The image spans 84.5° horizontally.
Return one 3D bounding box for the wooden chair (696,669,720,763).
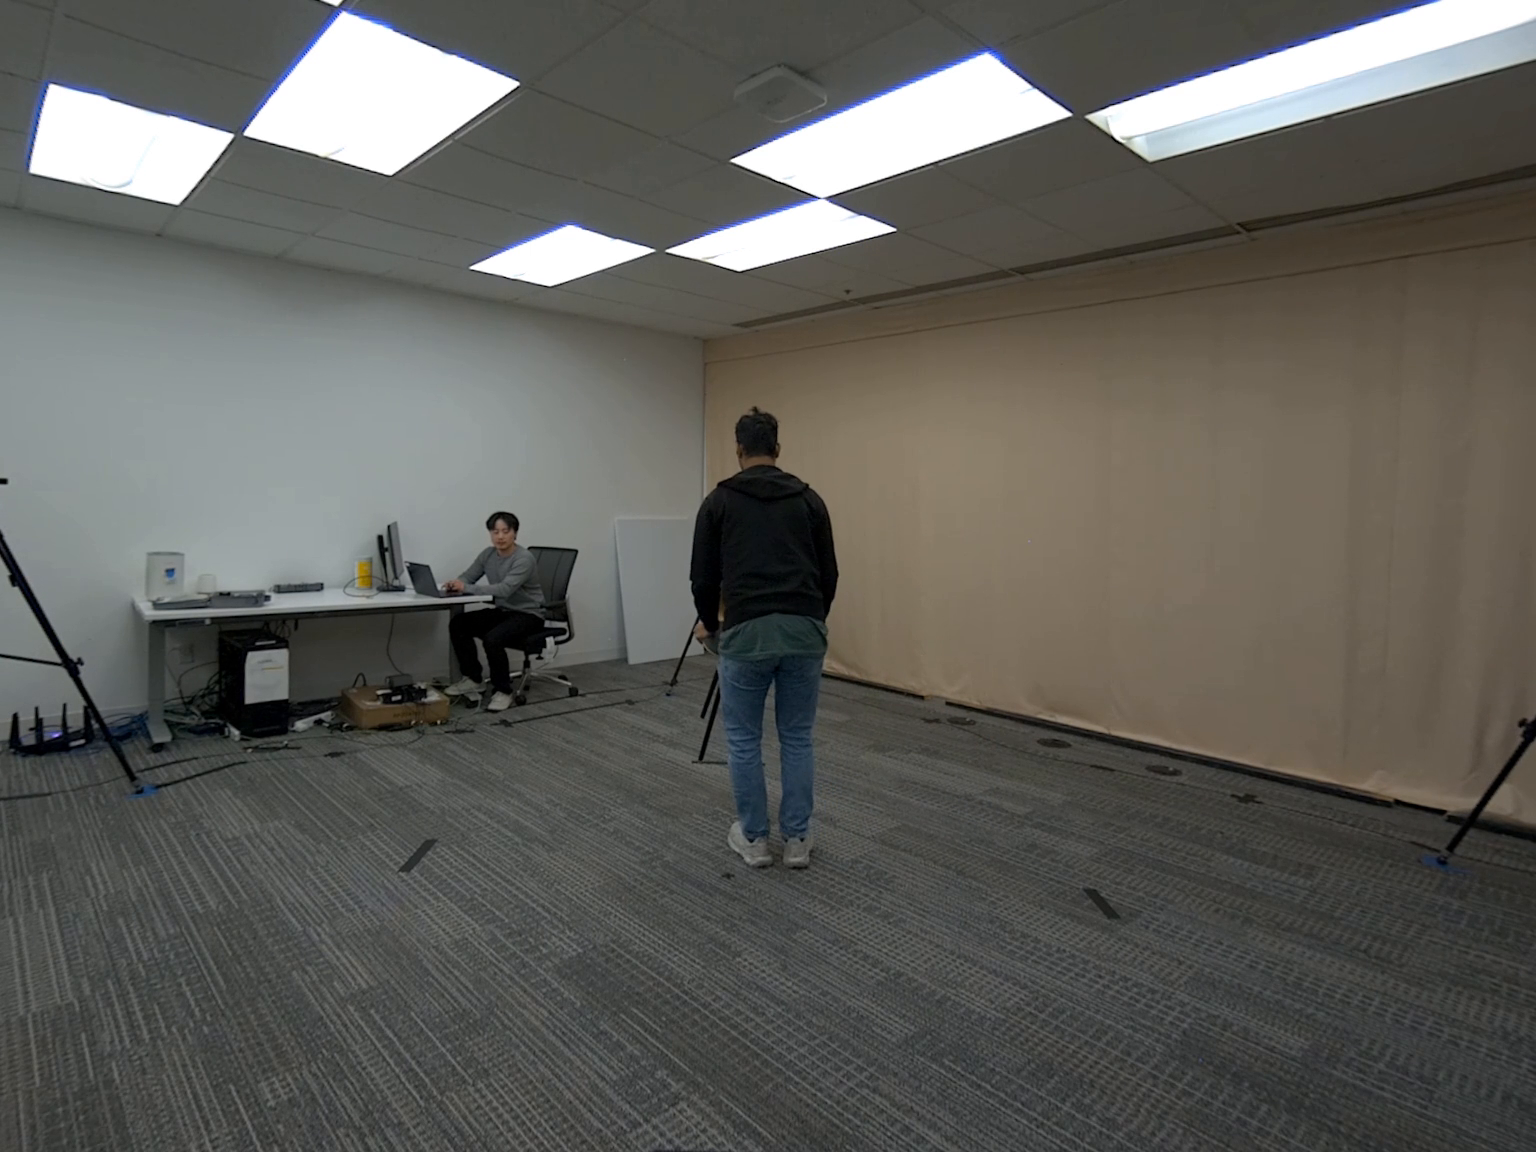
[{"bbox_3d":[-0.035,0.299,3.503,0.477,0.873,0.527,5,7,-3],"label":"wooden chair"}]
